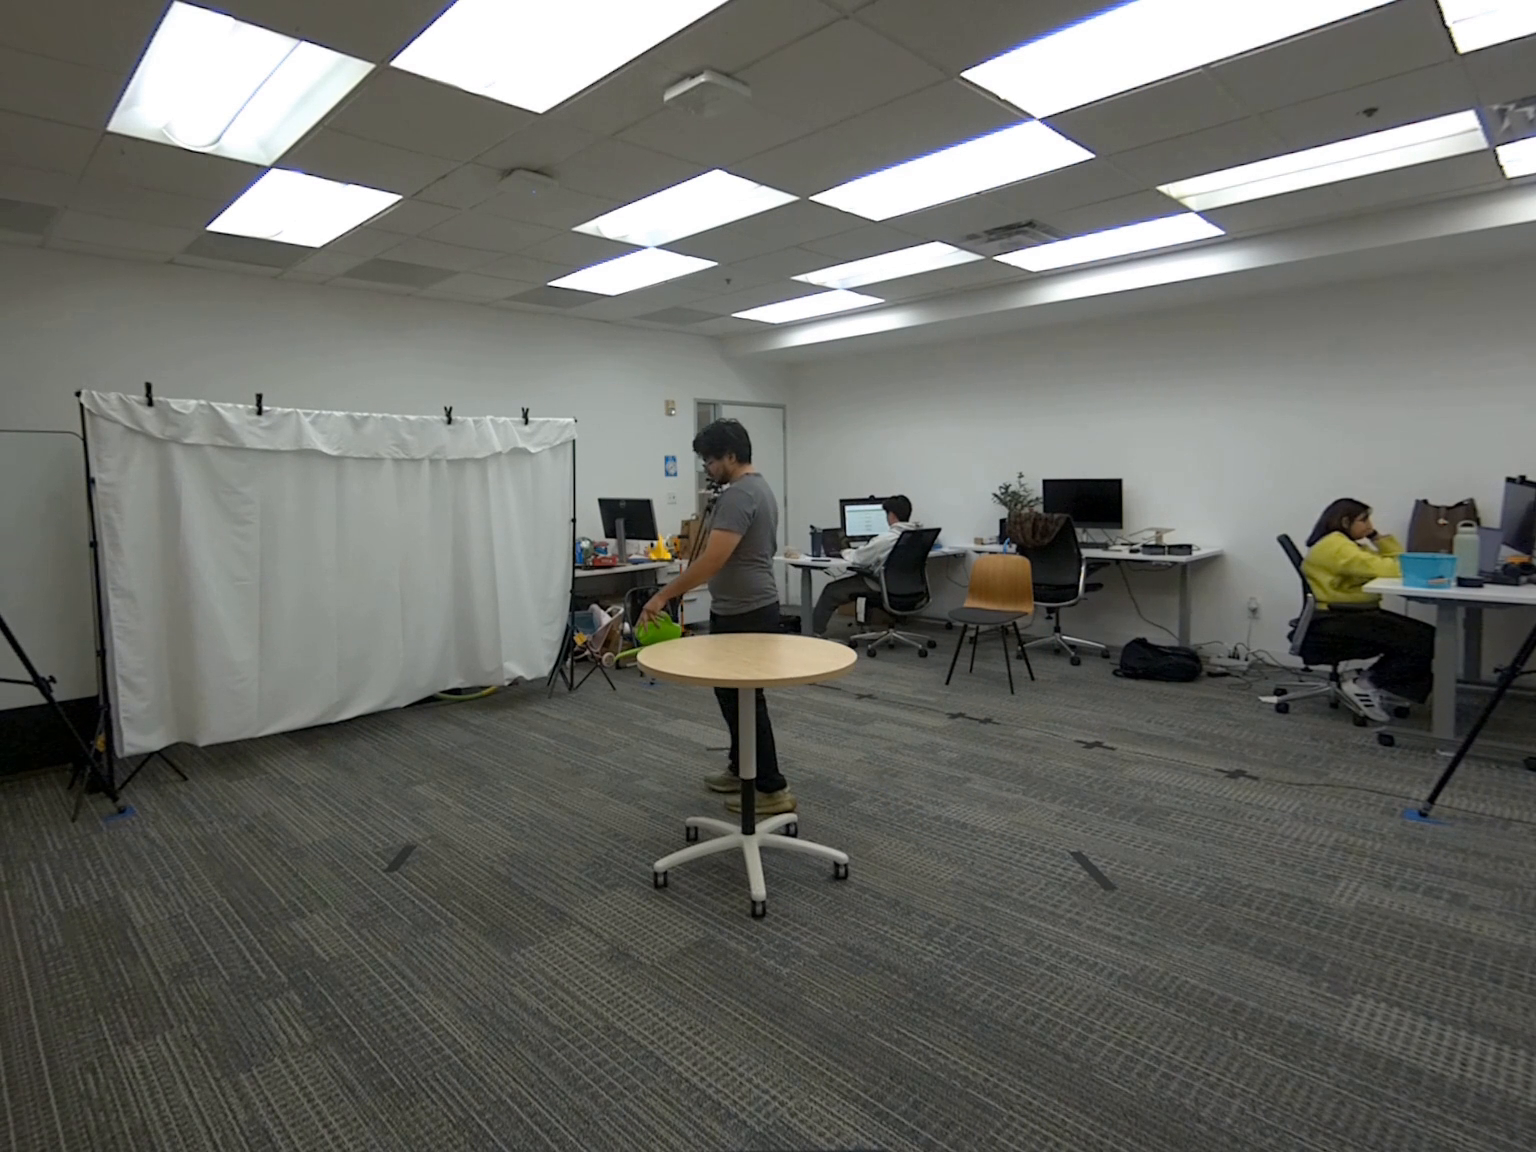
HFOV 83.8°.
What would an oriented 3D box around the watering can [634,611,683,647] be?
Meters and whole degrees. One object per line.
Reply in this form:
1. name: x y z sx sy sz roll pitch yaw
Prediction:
1. watering can: -0.483 0.251 3.462 0.170 0.101 0.279 28 -54 -35
